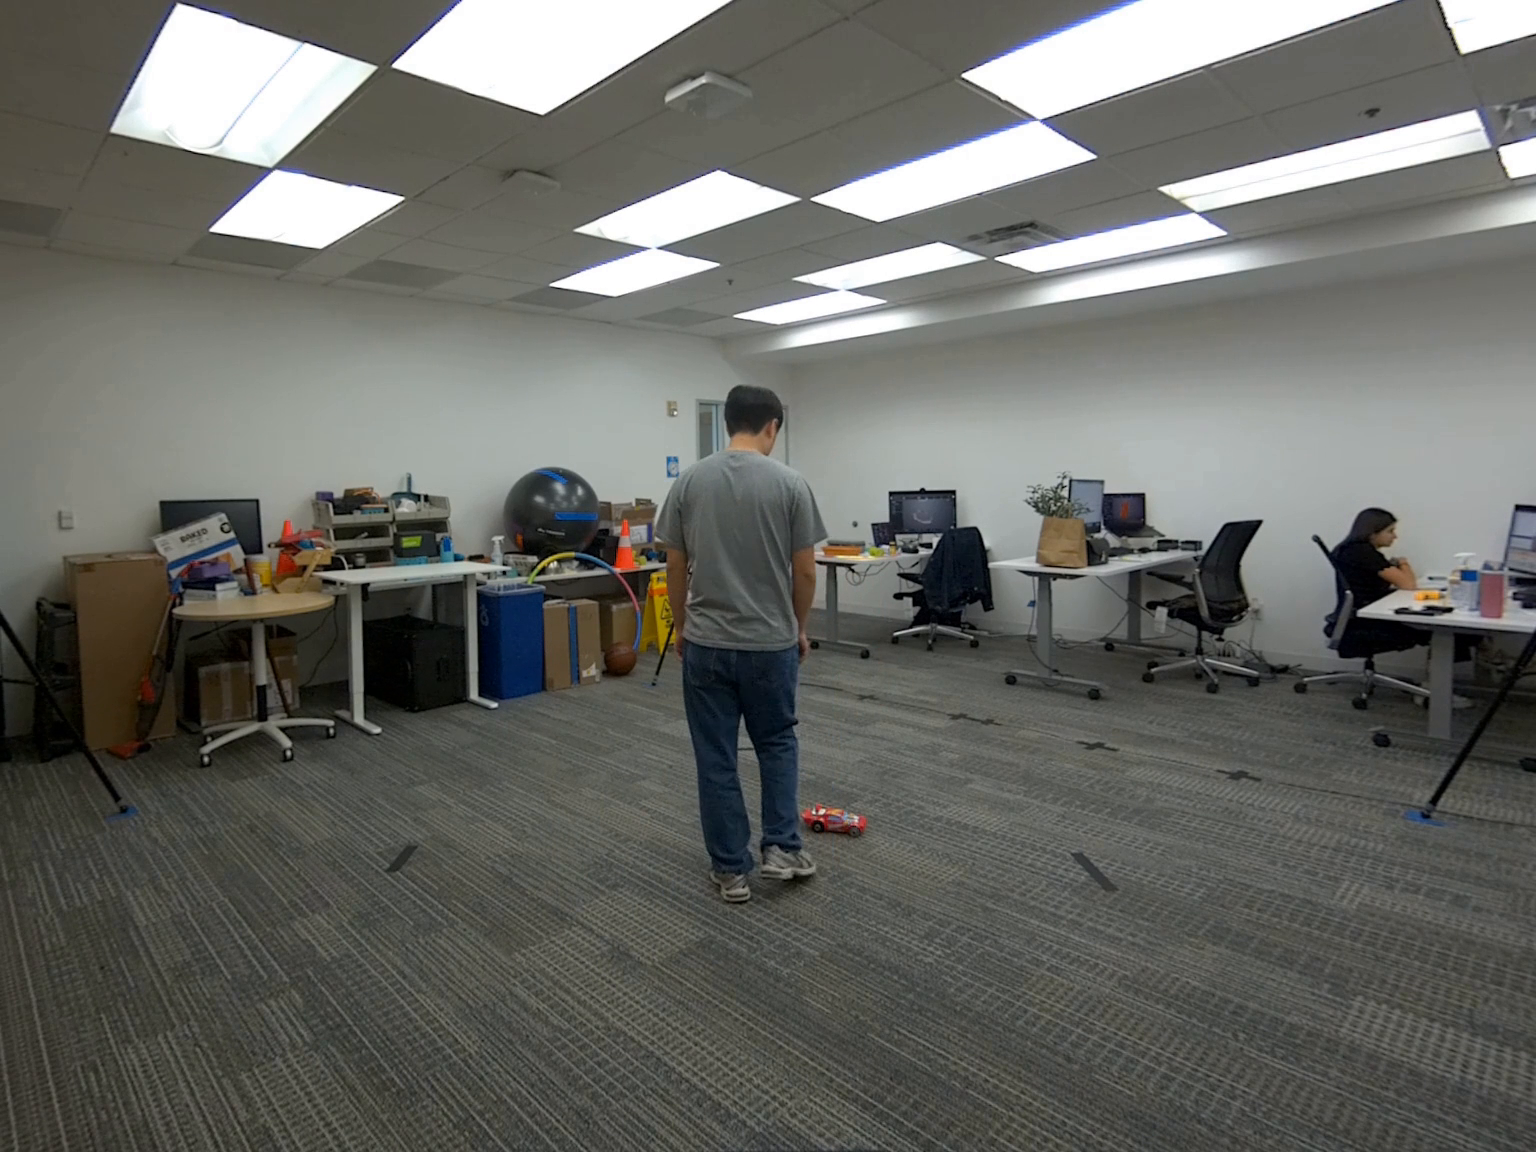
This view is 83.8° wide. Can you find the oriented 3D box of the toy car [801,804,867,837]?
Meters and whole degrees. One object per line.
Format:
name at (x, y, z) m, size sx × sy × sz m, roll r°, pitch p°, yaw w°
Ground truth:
toy car at (0.265, 0.976, 3.400) m, size 0.260 × 0.083 × 0.128 m, roll 13°, pitch 9°, yaw 18°
